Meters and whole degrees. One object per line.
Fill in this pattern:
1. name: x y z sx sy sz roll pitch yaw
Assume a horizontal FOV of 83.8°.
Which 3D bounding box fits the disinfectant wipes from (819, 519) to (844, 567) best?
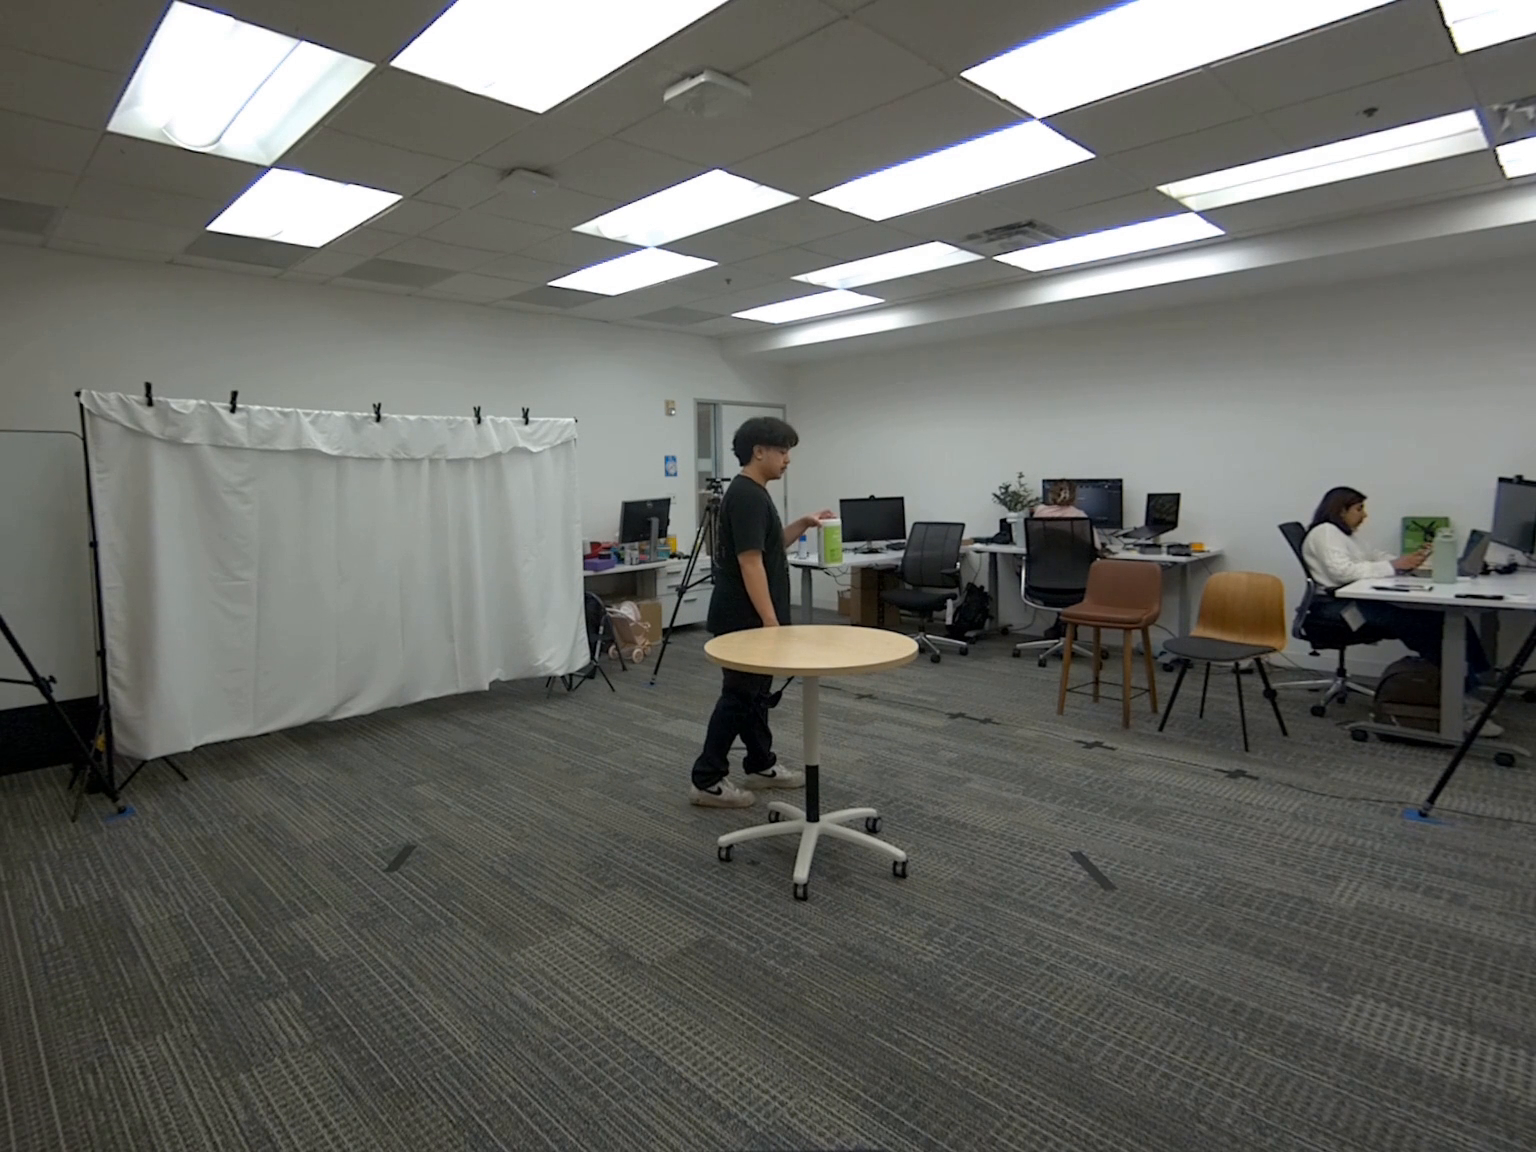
1. disinfectant wipes: 0.270 -0.147 3.850 0.118 0.216 0.118 -1 5 -2
